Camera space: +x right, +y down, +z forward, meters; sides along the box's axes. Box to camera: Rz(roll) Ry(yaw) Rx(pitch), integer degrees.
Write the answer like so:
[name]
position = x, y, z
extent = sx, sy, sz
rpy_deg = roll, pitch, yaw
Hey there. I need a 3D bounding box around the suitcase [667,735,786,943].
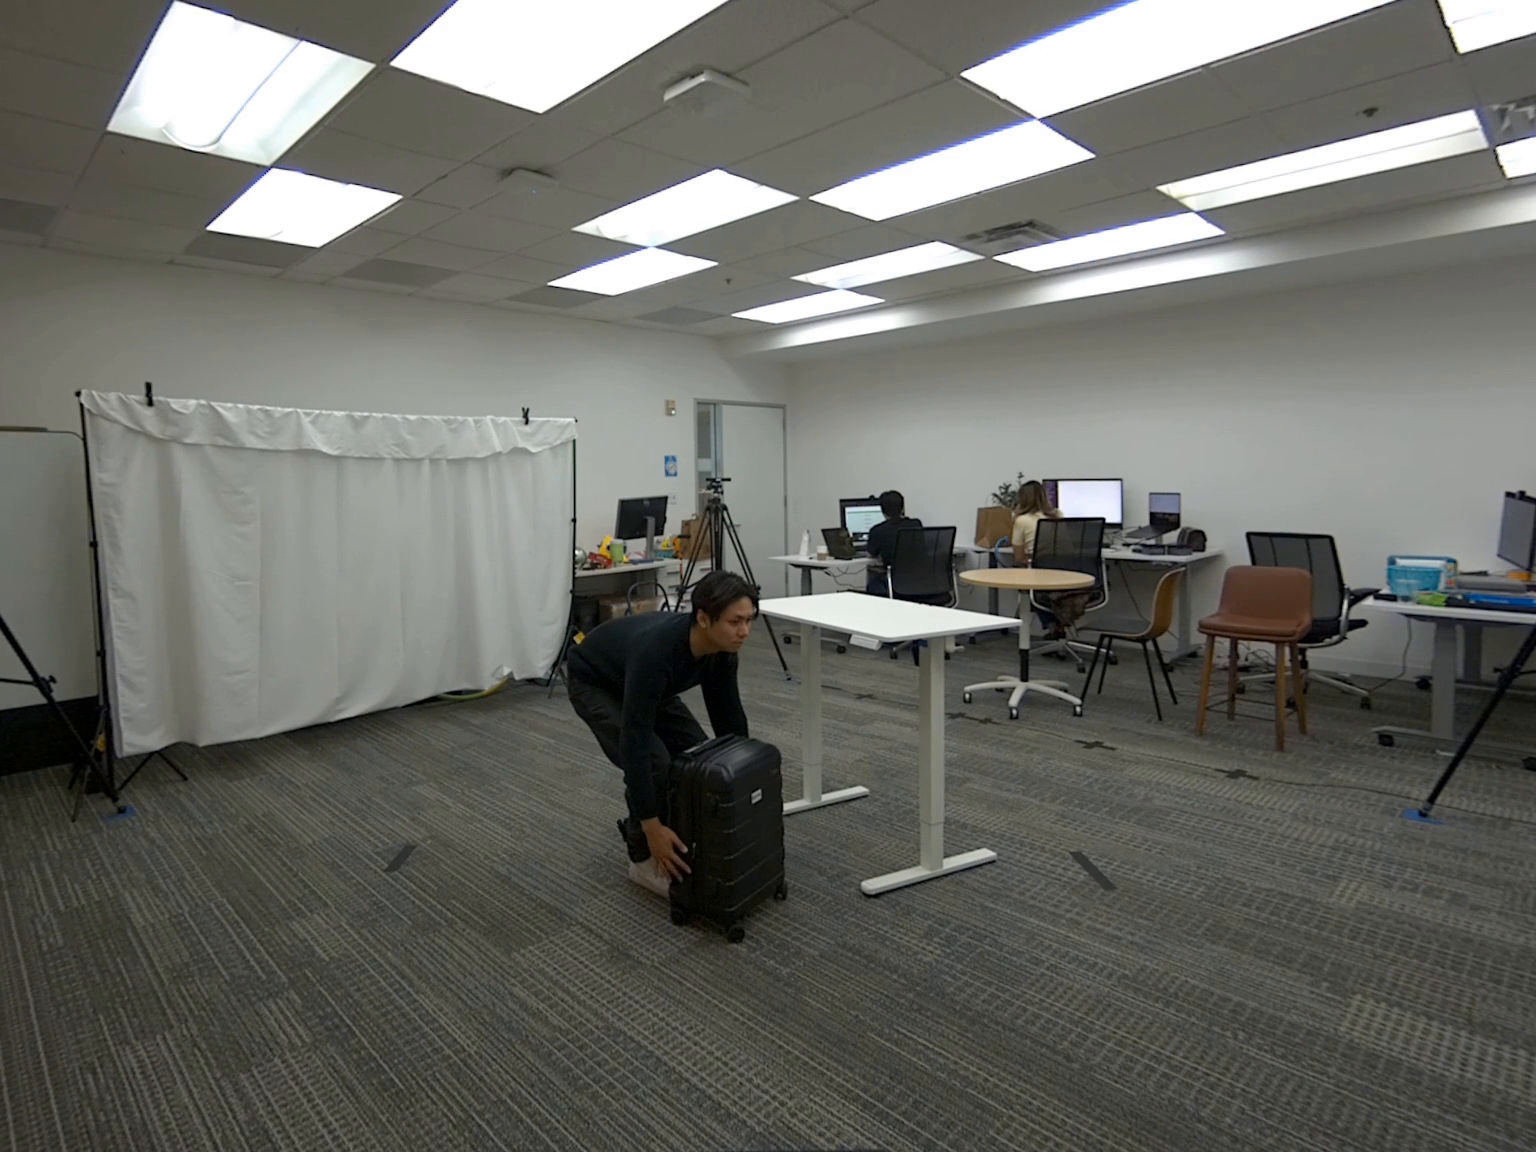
[suitcase]
position = -0.126, 0.809, 2.740
extent = 0.255, 0.547, 0.367
rpy_deg = 1, 5, 32
